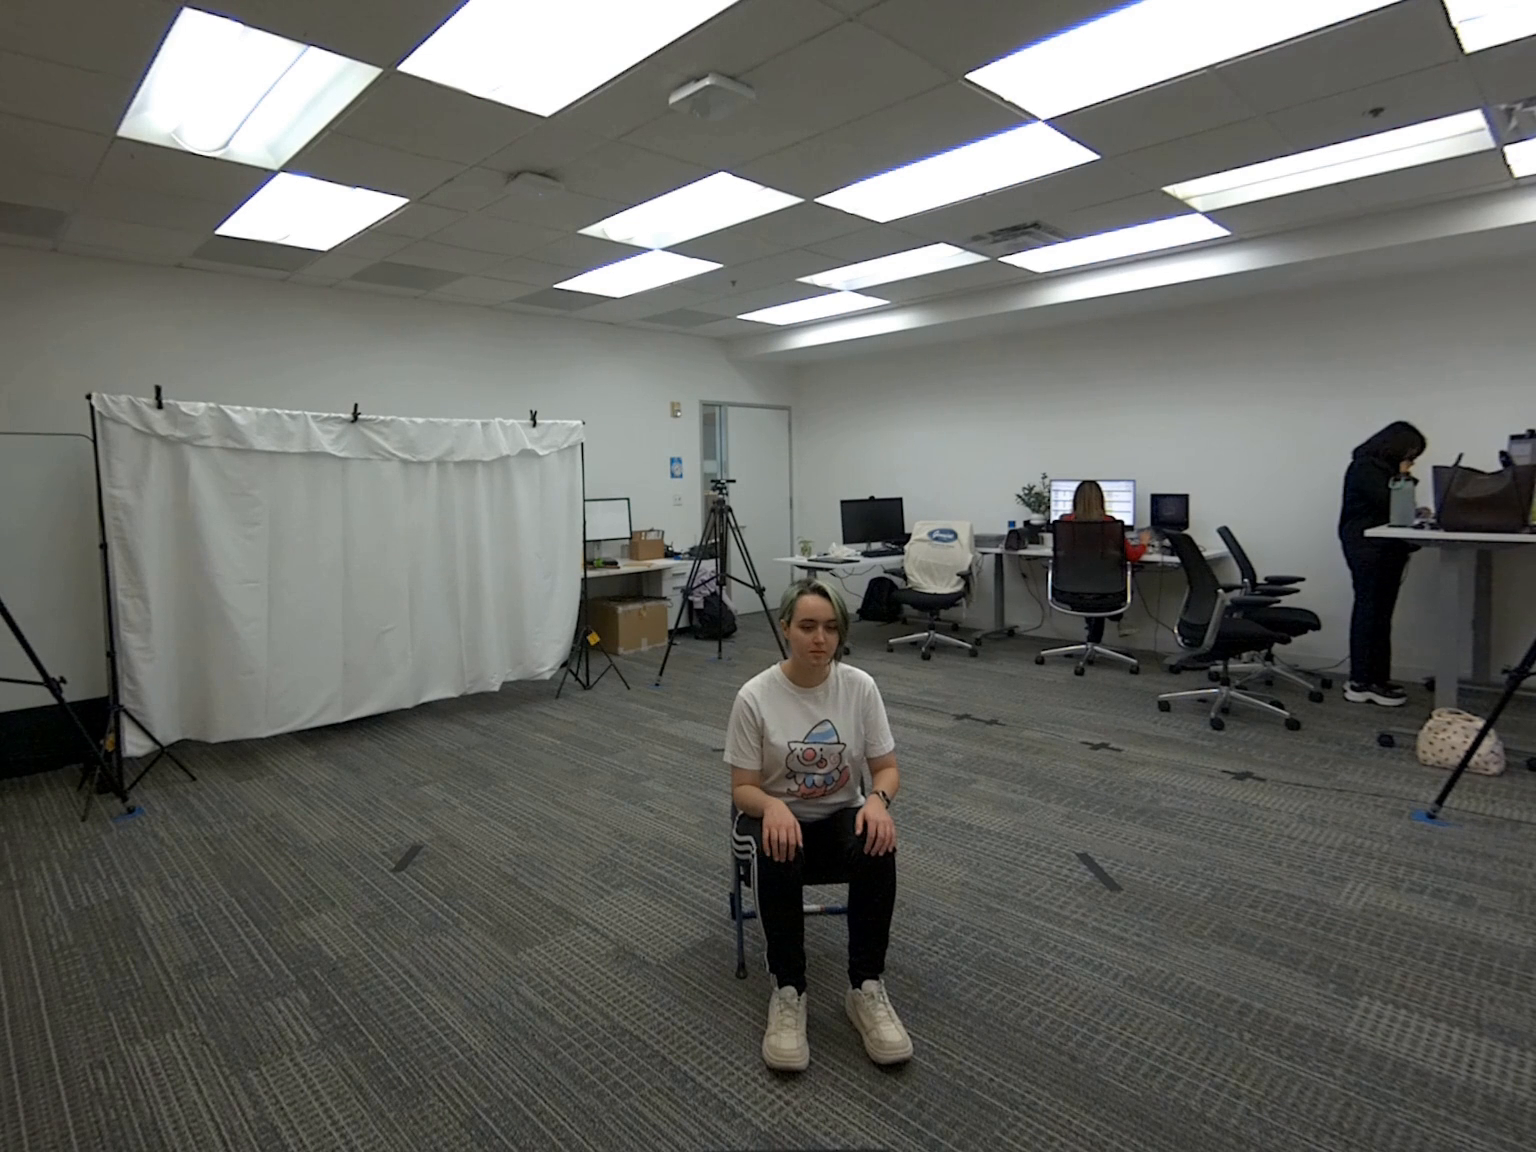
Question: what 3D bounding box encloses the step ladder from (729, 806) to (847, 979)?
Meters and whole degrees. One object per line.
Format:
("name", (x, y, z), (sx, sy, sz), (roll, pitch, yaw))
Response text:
("step ladder", (0.106, 0.810, 2.566), (0.428, 0.603, 0.353), (-2, 5, -6))
